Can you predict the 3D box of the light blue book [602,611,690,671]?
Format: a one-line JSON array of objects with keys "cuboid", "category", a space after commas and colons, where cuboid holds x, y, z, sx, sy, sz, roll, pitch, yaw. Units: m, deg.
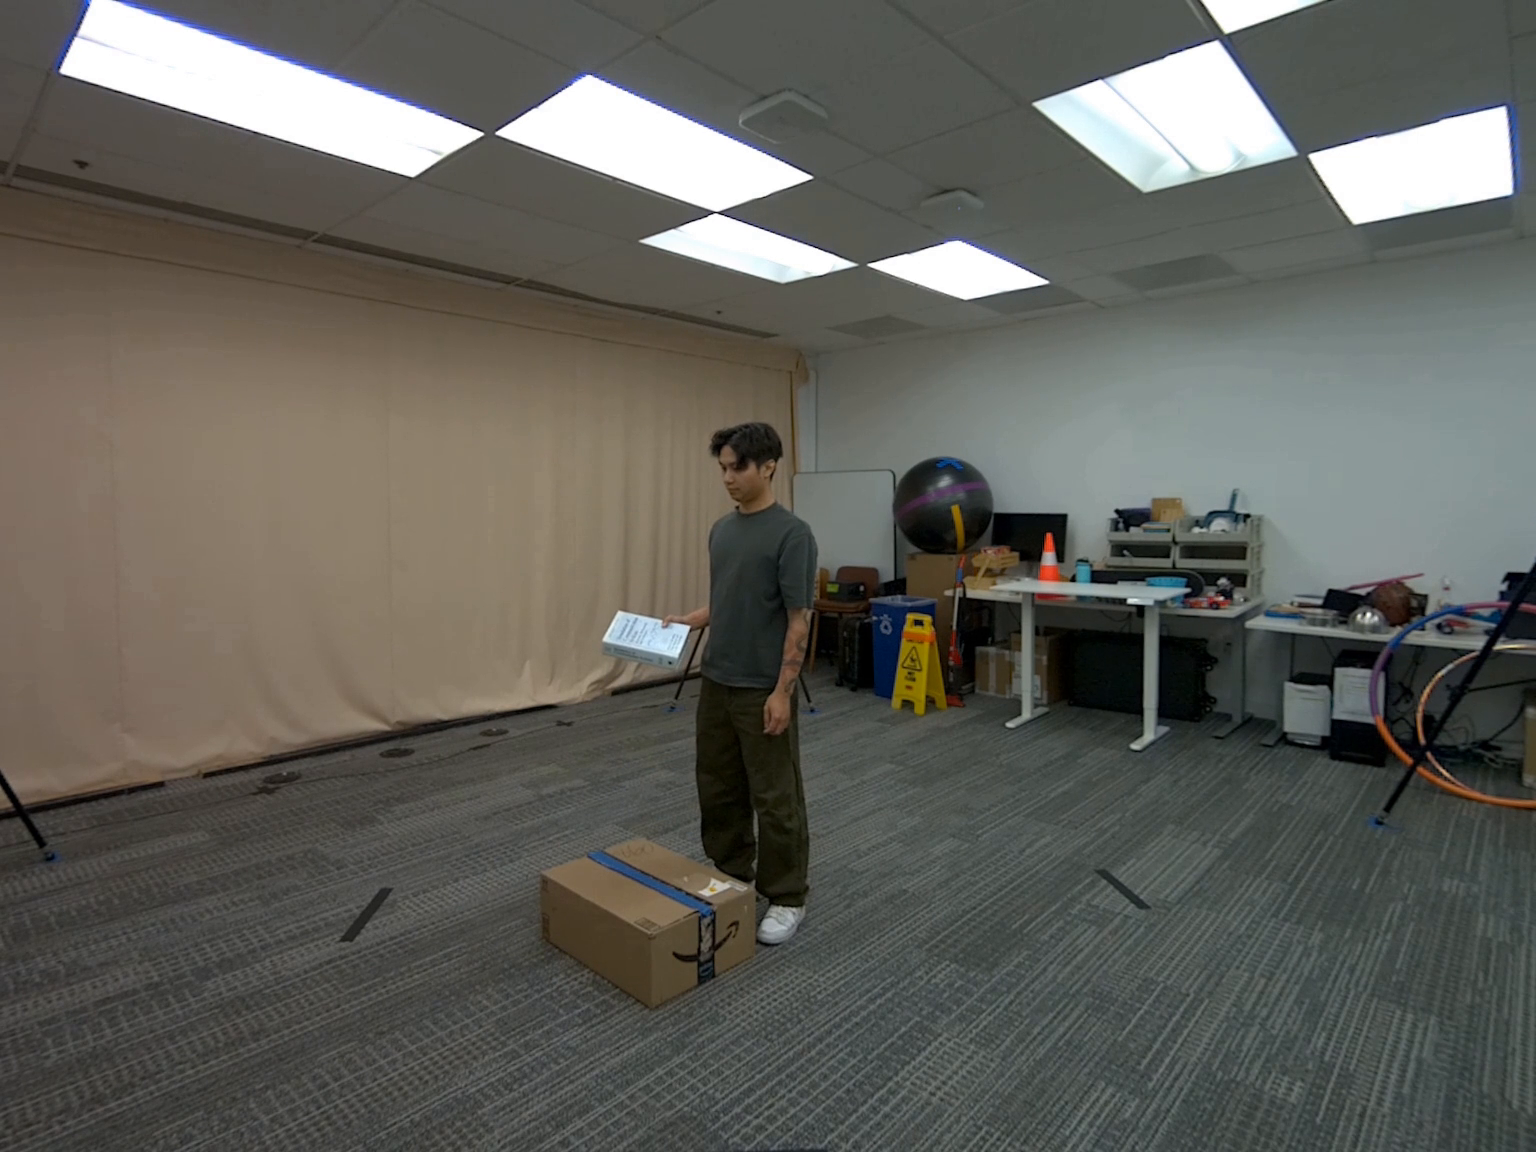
[{"cuboid": [-0.410, 0.224, 2.857, 0.263, 0.058, 0.192, 11, 26, 6], "category": "light blue book"}]
